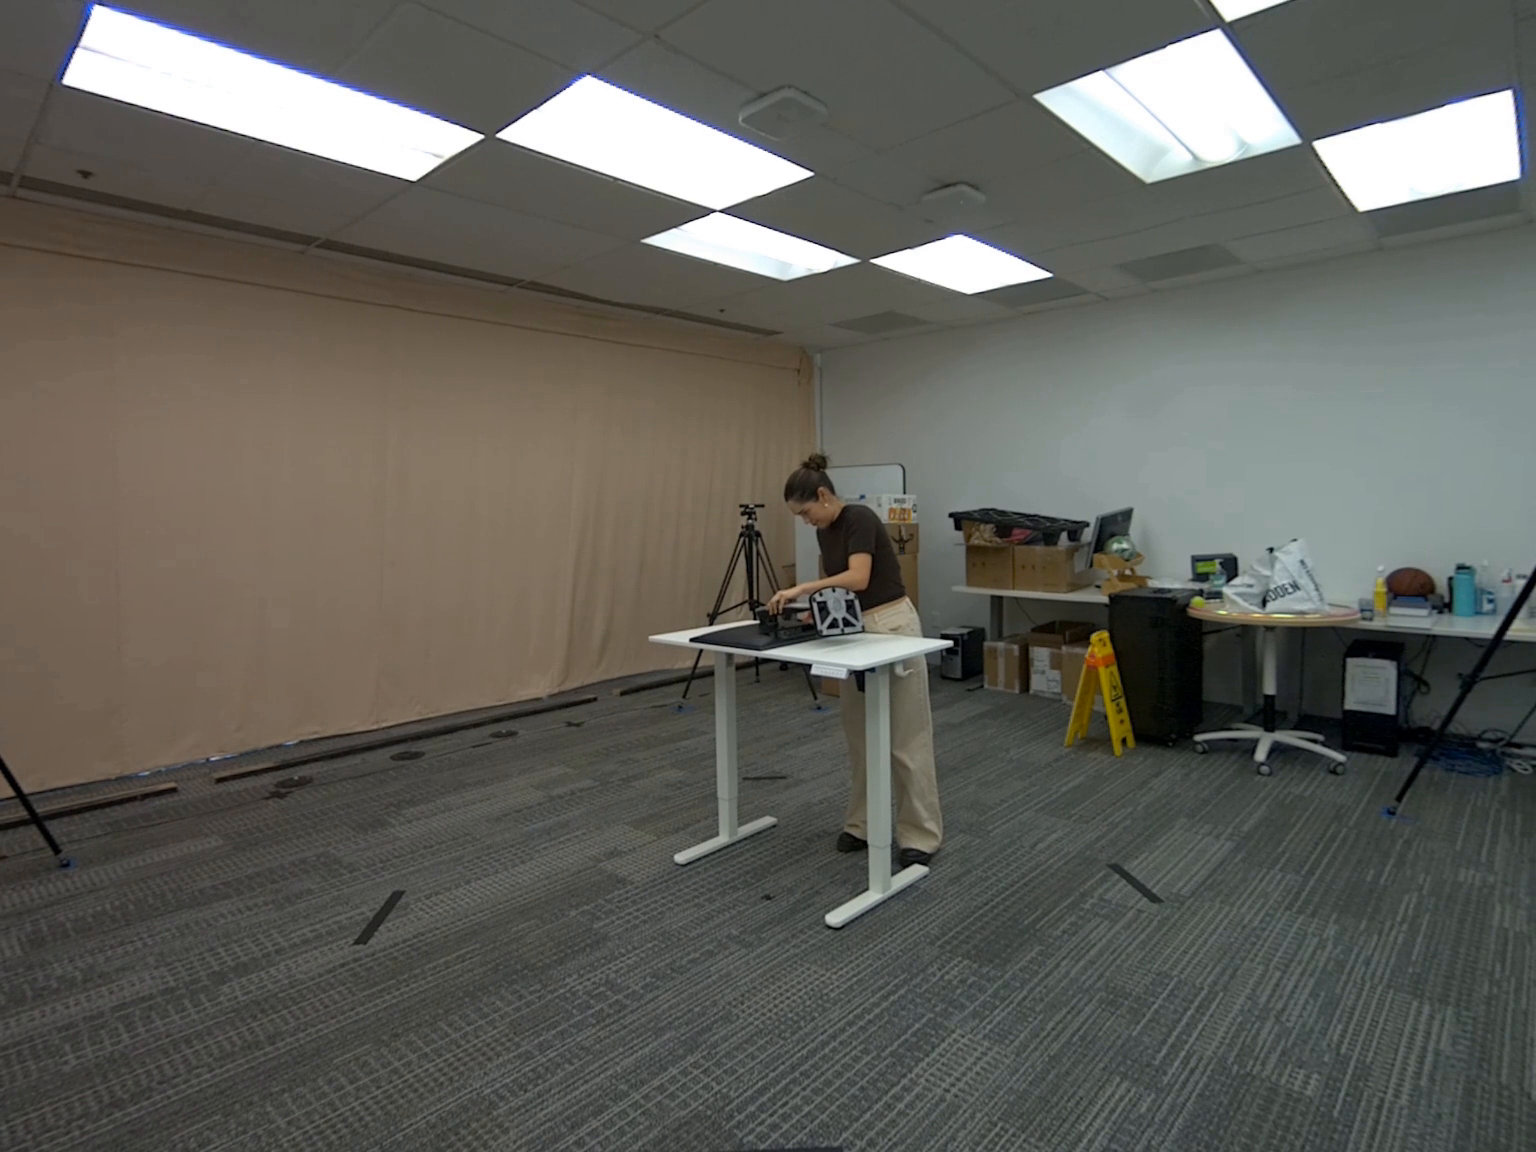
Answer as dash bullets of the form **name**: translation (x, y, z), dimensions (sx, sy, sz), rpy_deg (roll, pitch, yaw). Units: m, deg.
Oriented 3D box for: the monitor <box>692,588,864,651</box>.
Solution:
- **monitor**: translation (0.072, 0.182, 3.167), dimensions (0.536, 0.188, 0.522), rpy_deg (-16, -10, 42)
